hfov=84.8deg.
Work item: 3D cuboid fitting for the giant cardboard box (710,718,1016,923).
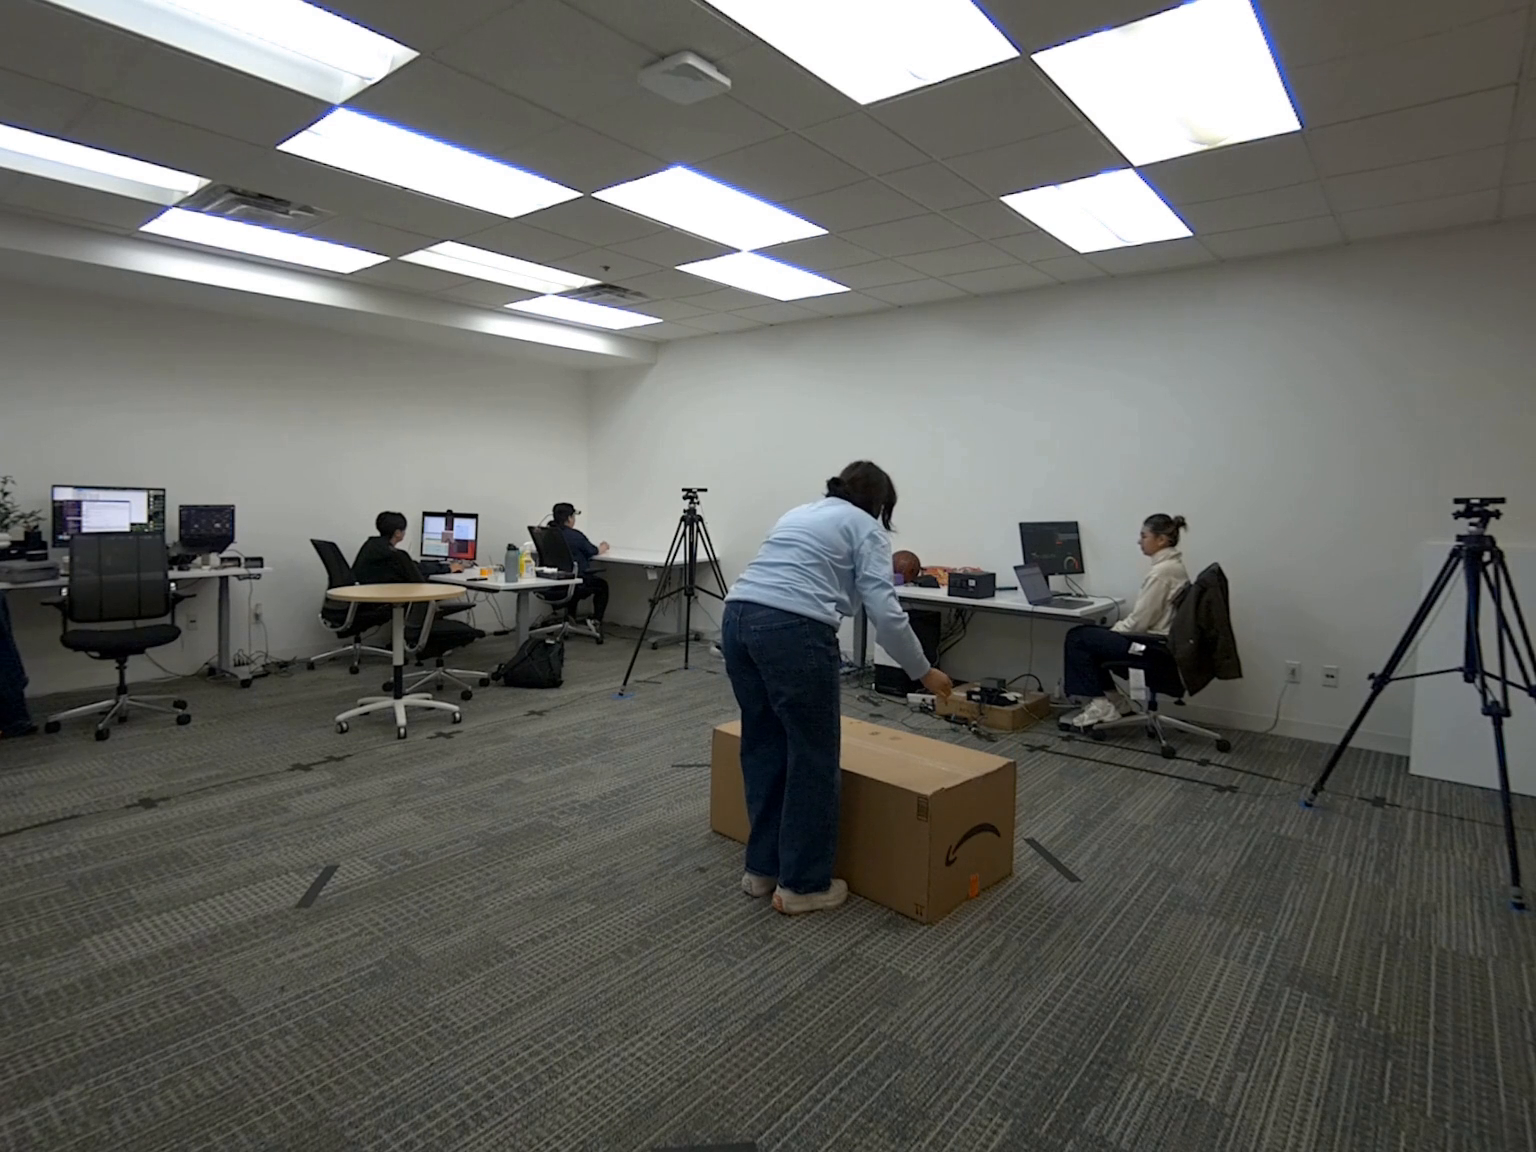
[{"bbox_3d":[0.330,0.849,3.289,1.061,0.425,0.560,6,7,44],"label":"giant cardboard box"}]
